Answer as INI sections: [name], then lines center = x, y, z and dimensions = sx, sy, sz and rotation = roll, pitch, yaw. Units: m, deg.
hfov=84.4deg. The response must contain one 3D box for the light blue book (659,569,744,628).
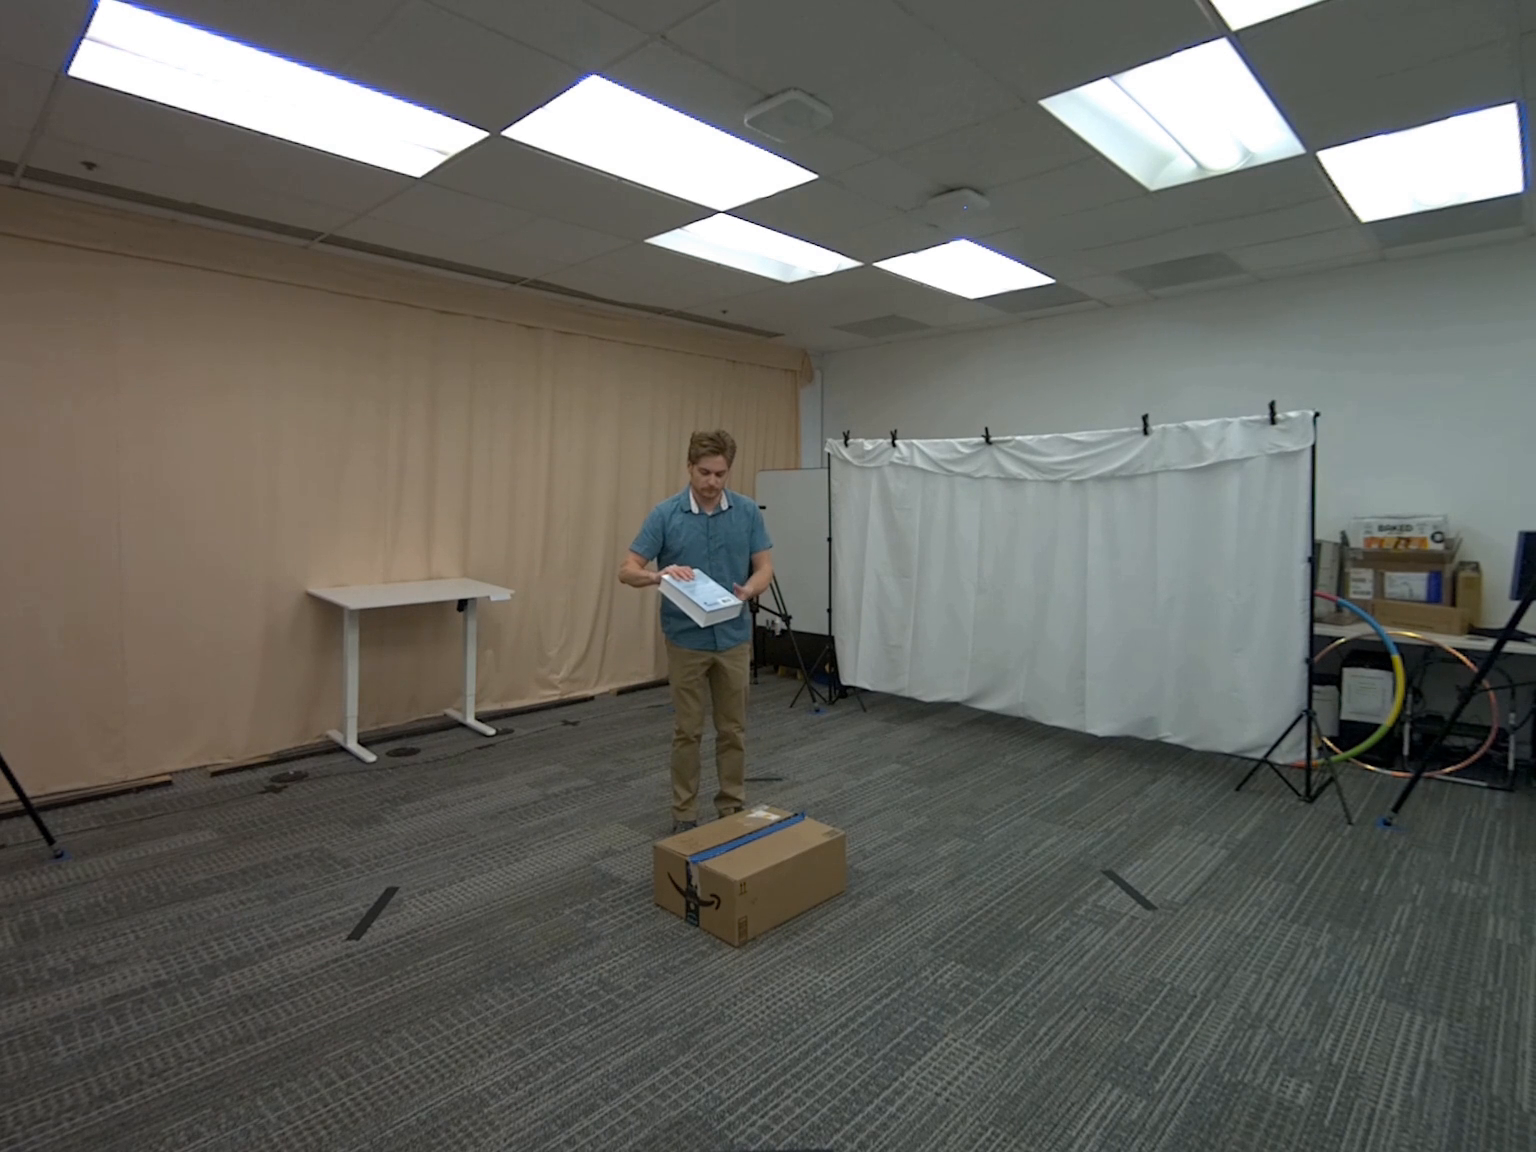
[light blue book]
center = -0.250, 0.075, 3.103
dimensions = 0.186, 0.058, 0.270
rotation = -11, 37, -40
